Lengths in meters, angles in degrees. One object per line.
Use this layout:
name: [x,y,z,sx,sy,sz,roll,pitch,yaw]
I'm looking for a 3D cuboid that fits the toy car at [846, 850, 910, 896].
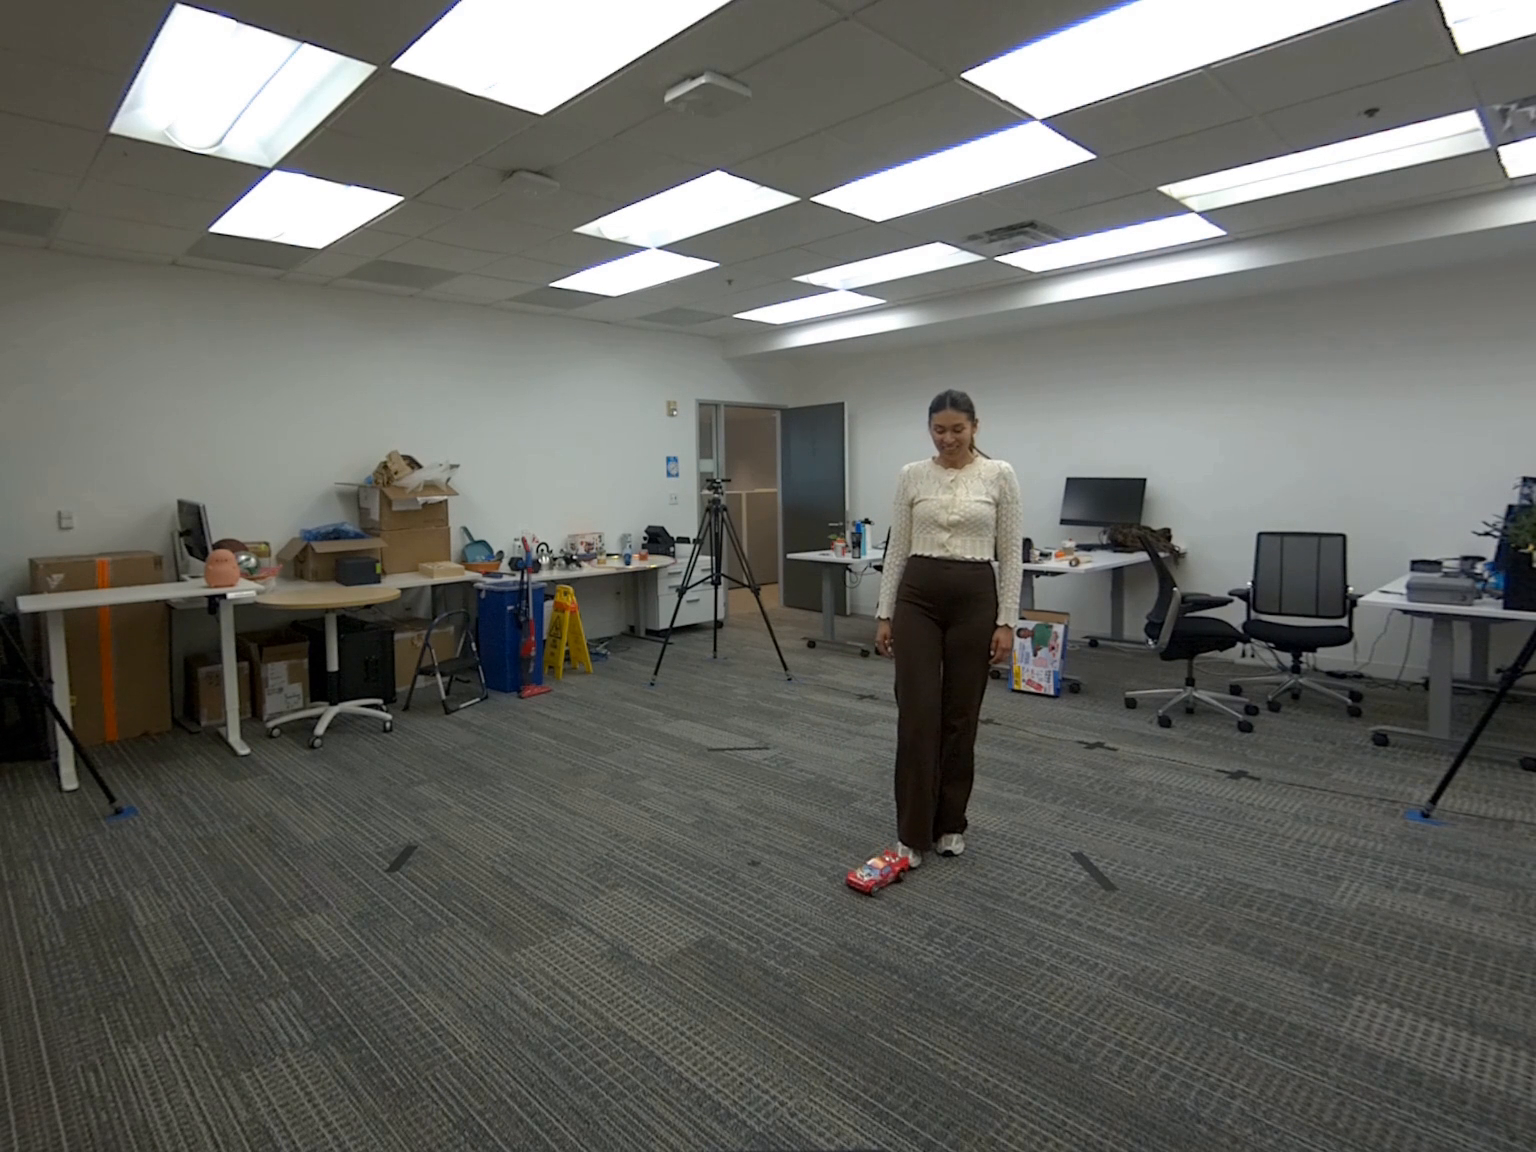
toy car: [0.390,1.023,2.941,0.250,0.082,0.134,-21,17,-40]
